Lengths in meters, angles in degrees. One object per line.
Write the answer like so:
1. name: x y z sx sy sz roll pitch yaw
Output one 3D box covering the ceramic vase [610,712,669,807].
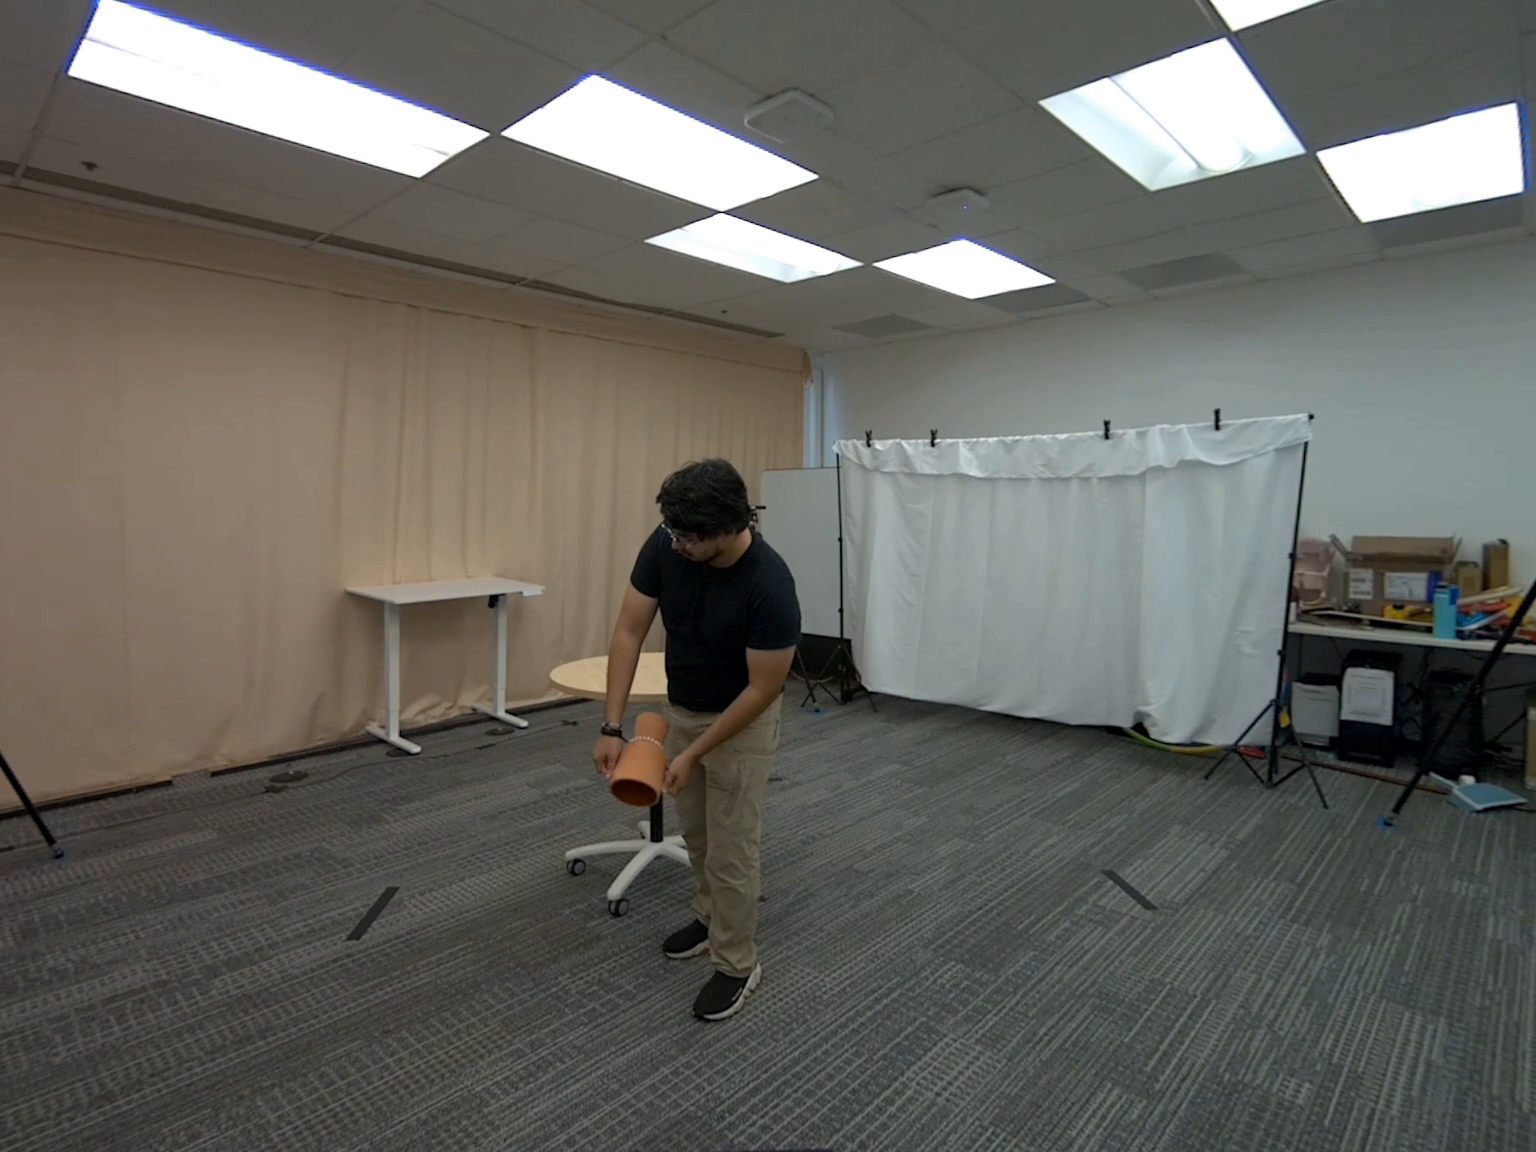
1. ceramic vase: -0.329 0.480 2.234 0.137 0.154 0.222 -27 30 30
